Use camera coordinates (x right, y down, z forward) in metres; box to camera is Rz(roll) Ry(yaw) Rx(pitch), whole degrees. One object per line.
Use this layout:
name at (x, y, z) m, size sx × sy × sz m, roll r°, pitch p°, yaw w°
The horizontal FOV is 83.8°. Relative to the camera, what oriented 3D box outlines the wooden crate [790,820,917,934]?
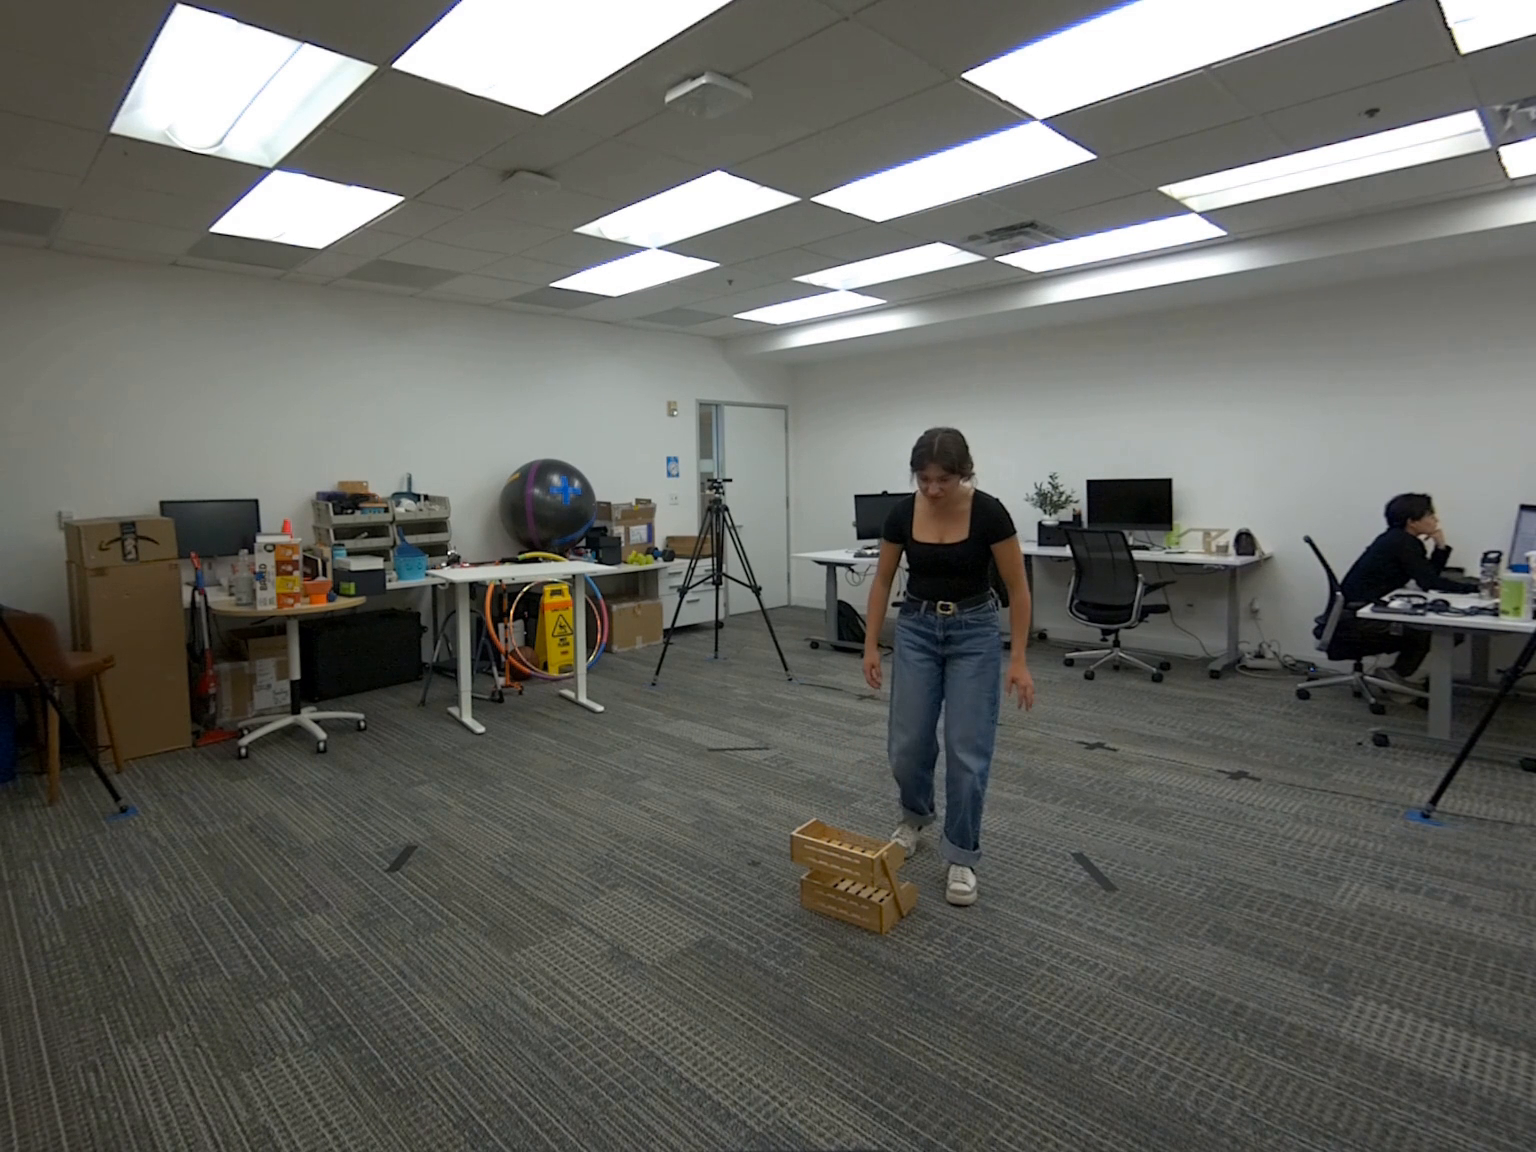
wooden crate at (0.290, 0.947, 2.766) m, size 0.334 × 0.272 × 0.295 m, roll 3°, pitch 7°, yaw 37°
